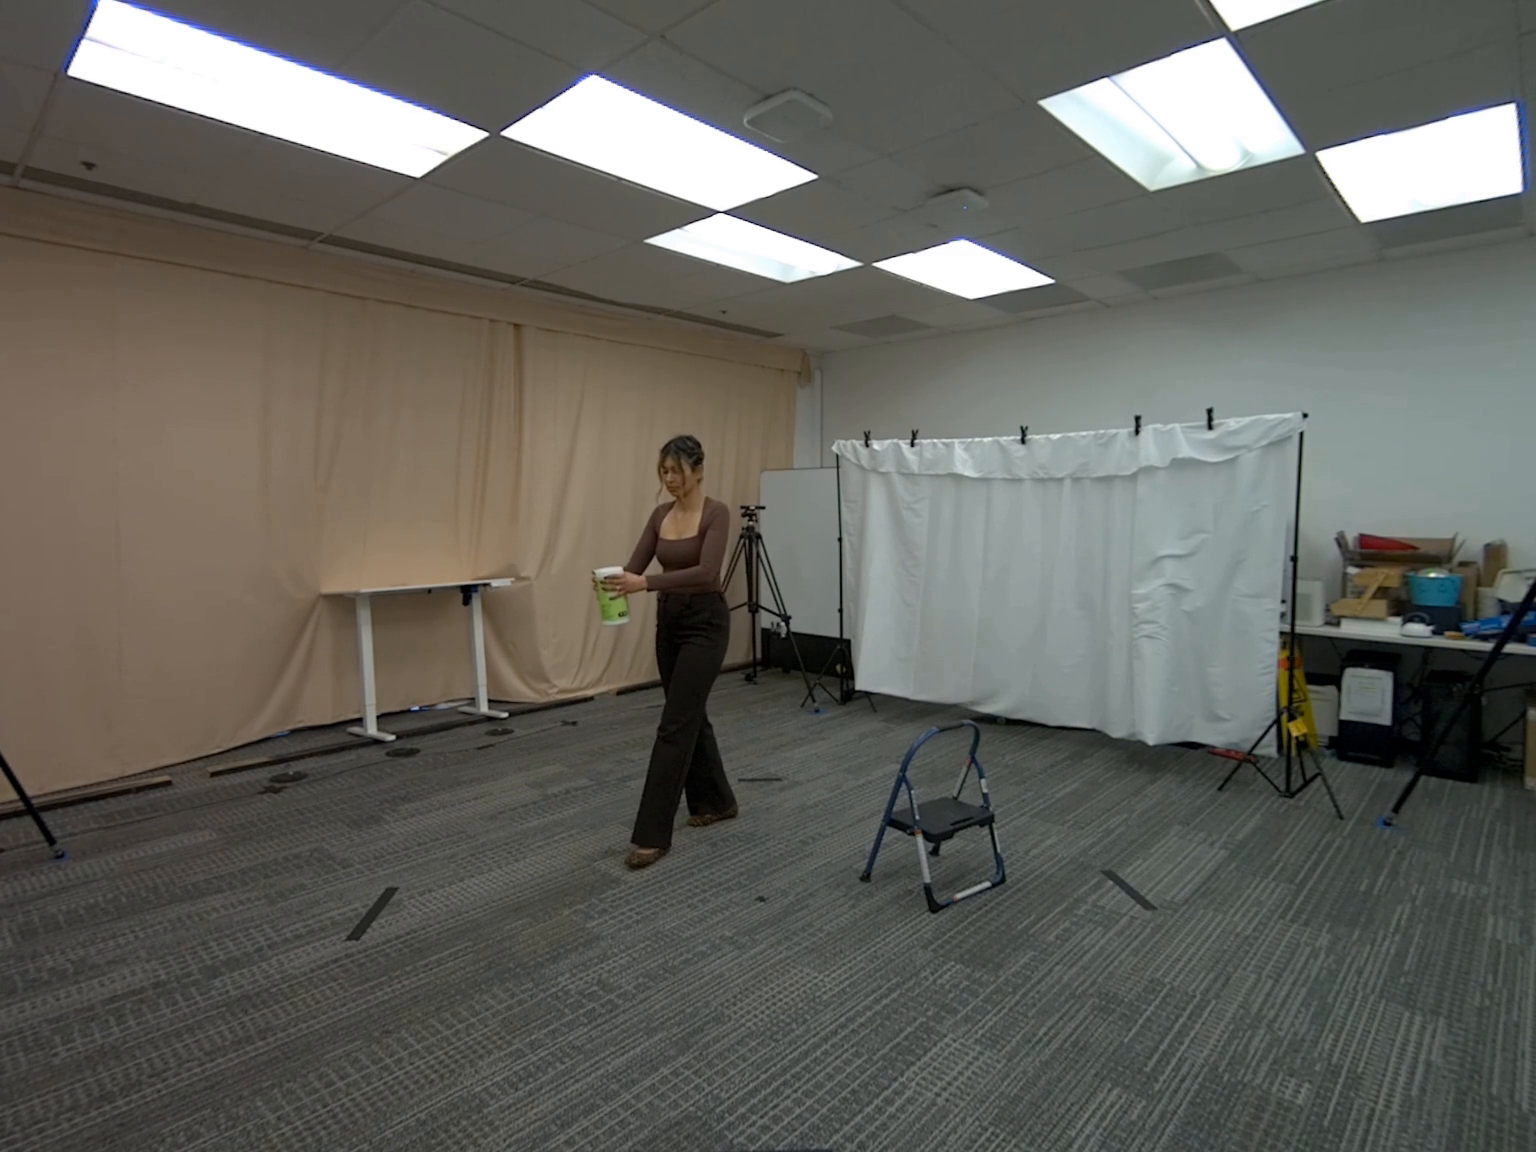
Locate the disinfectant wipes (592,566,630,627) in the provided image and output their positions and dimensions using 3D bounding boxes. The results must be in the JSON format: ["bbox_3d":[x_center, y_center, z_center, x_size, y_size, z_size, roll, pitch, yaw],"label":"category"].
[{"bbox_3d":[-0.602,0.076,3.220,0.118,0.216,0.118,-4,6,-1],"label":"disinfectant wipes"}]
